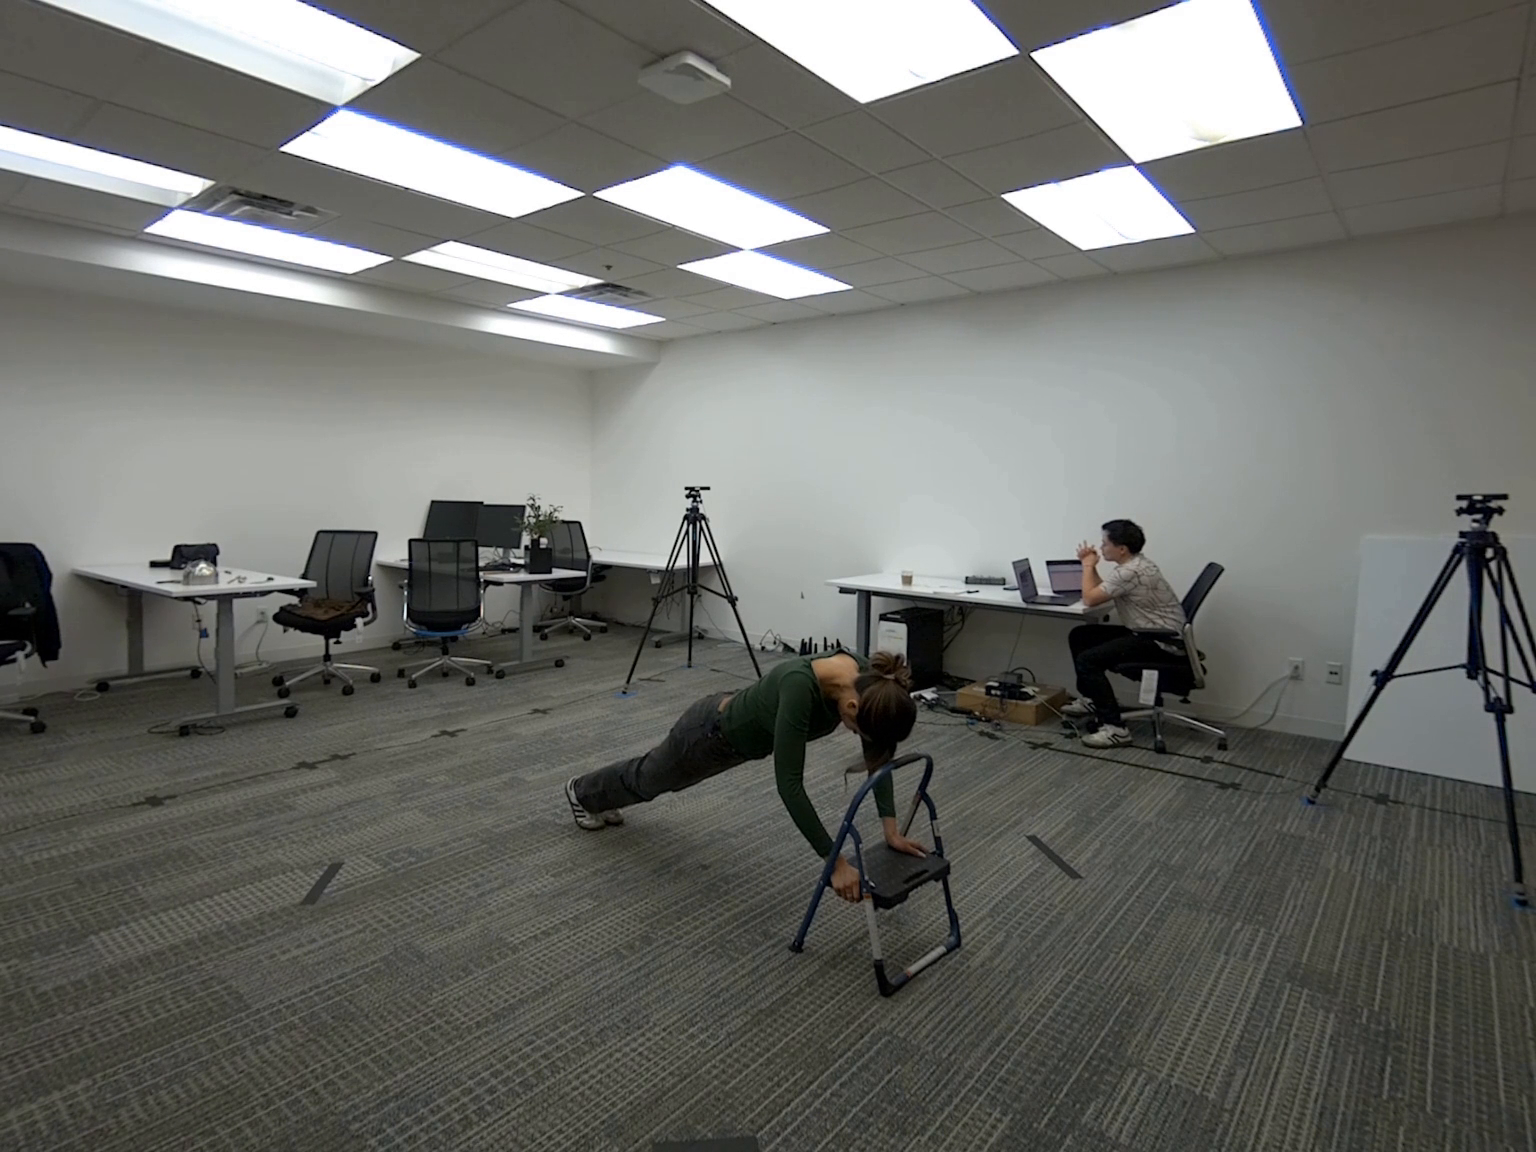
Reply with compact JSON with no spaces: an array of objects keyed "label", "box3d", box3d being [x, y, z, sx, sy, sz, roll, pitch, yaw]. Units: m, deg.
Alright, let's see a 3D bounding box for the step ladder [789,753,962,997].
[{"label":"step ladder","box3d":[0.333,0.828,2.578,0.361,0.604,0.417,5,5,43]}]
